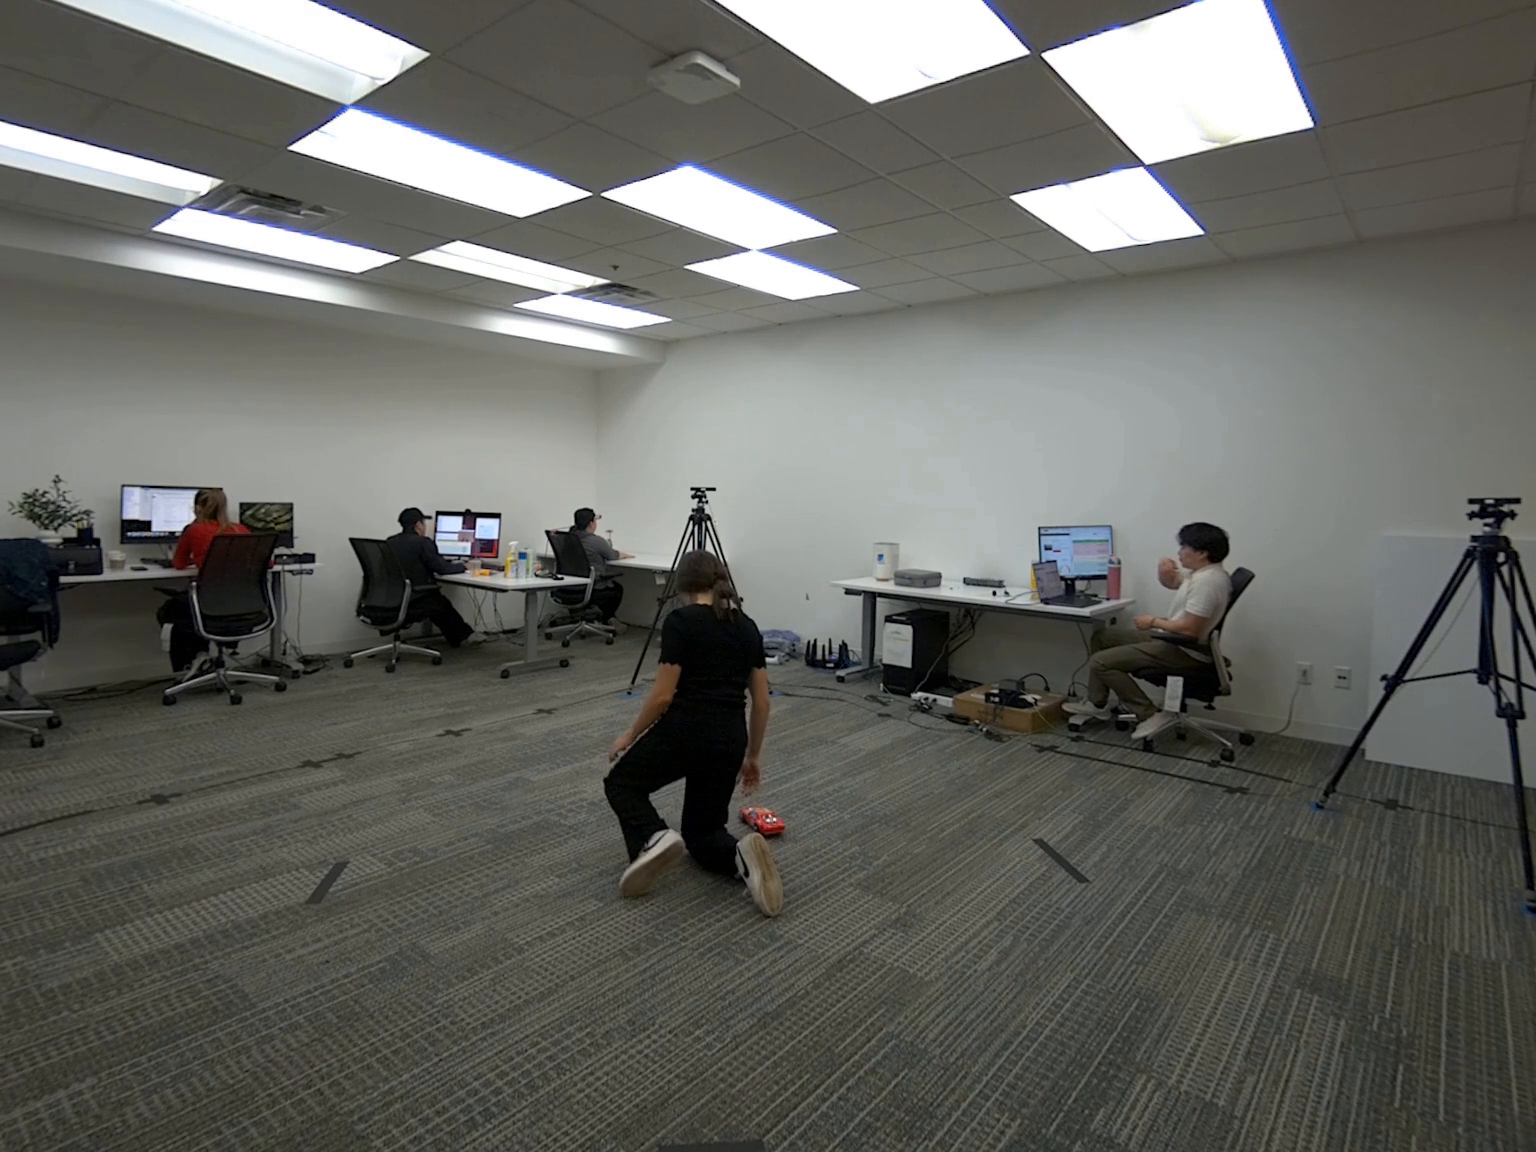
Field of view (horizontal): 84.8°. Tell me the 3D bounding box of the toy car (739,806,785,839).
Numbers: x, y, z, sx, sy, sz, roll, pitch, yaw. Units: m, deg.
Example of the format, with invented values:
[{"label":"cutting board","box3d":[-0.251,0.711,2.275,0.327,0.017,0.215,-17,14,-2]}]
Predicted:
[{"label":"toy car","box3d":[-0.029,0.999,3.482,0.127,0.084,0.259,0,-5,-25]}]
